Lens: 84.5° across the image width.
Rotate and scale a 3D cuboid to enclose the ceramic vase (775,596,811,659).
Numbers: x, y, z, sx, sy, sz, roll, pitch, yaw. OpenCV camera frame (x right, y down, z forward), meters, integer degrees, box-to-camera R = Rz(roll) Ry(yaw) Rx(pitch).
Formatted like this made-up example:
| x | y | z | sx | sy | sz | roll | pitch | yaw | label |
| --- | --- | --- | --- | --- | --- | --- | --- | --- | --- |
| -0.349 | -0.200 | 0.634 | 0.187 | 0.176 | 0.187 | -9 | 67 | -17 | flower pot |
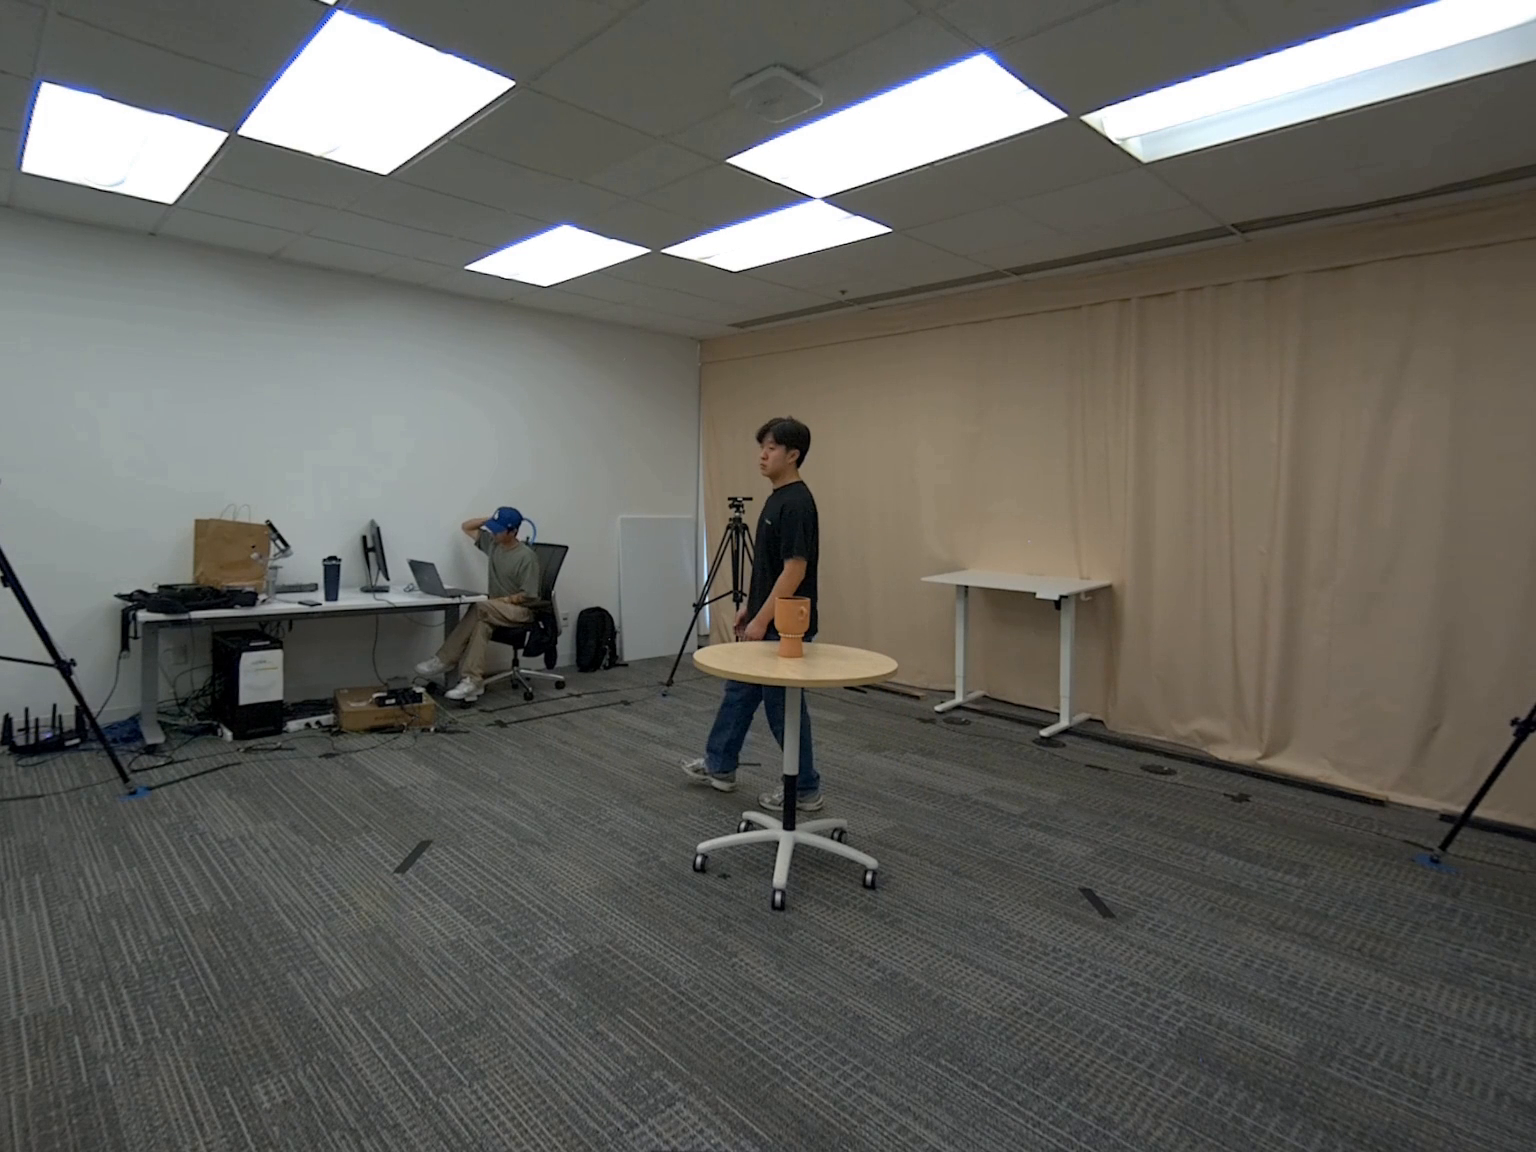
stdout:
| x | y | z | sx | sy | sz | roll | pitch | yaw | label |
| --- | --- | --- | --- | --- | --- | --- | --- | --- | --- |
| 0.076 | 0.198 | 3.222 | 0.136 | 0.219 | 0.157 | 2 | 3 | 12 | ceramic vase |
